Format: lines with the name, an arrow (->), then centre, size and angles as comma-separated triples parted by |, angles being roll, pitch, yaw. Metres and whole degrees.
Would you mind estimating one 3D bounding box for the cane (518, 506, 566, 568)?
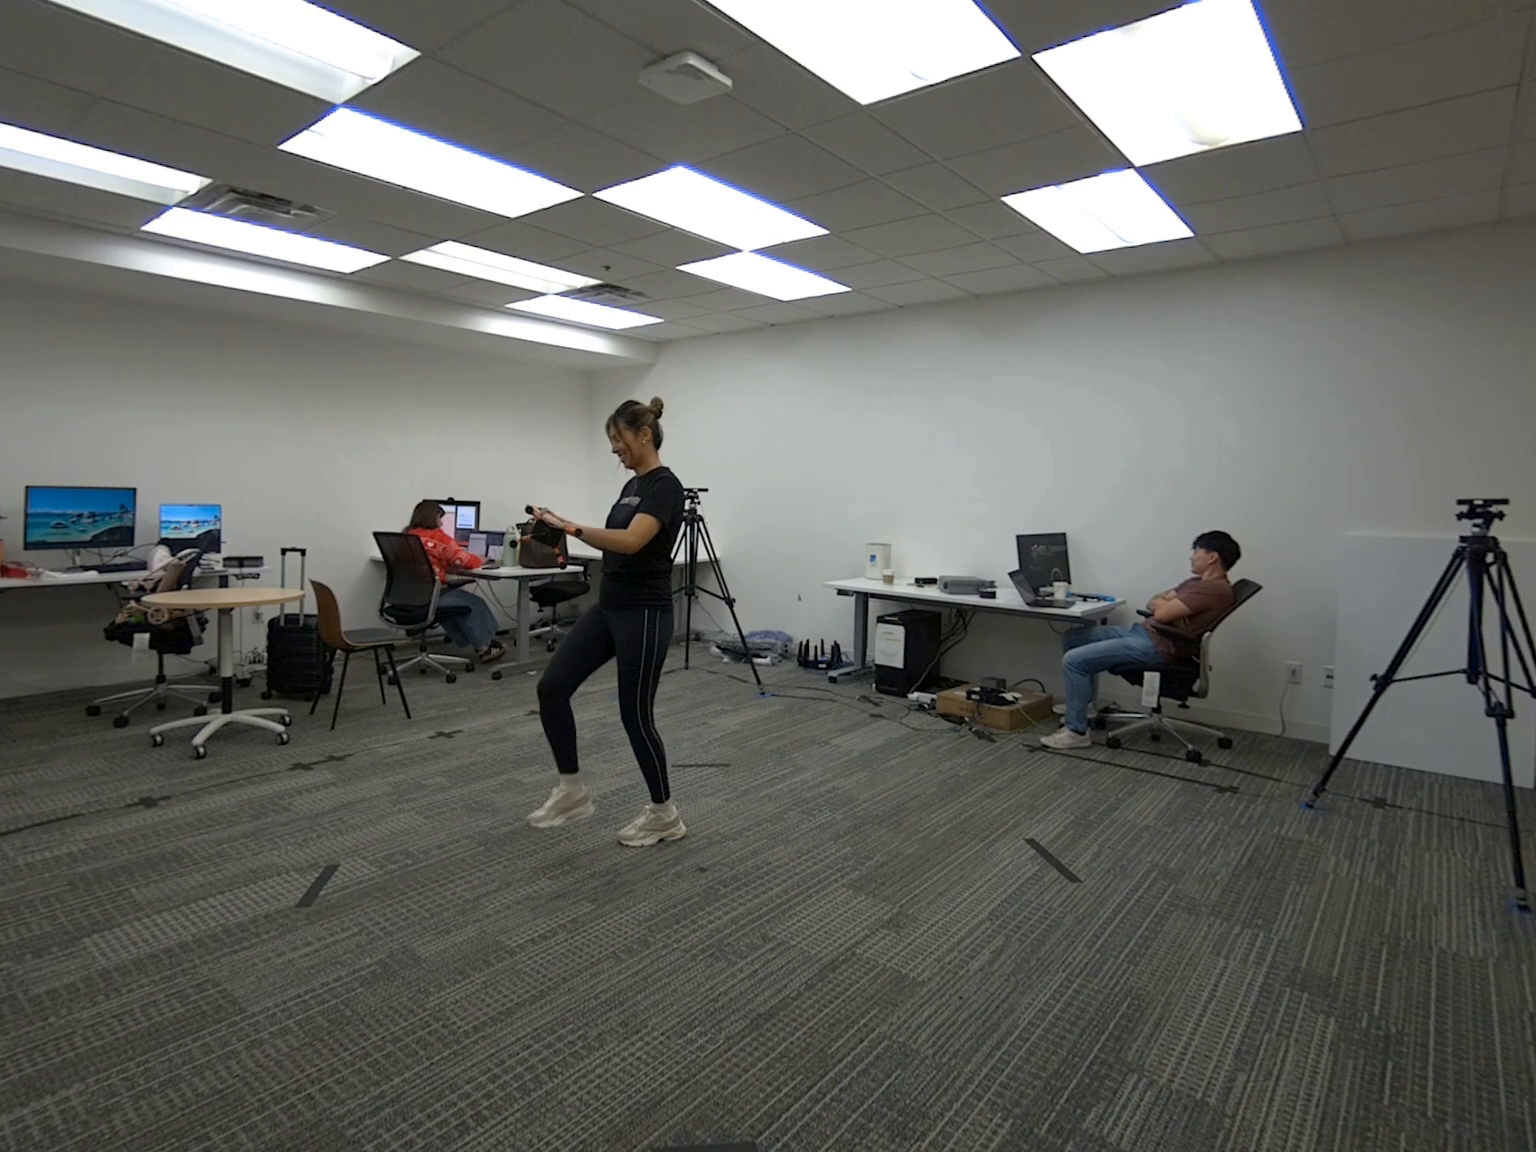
cane -> -0.893, -0.194, 3.264 | 0.202, 0.152, 0.927 | 26, -1, -18
